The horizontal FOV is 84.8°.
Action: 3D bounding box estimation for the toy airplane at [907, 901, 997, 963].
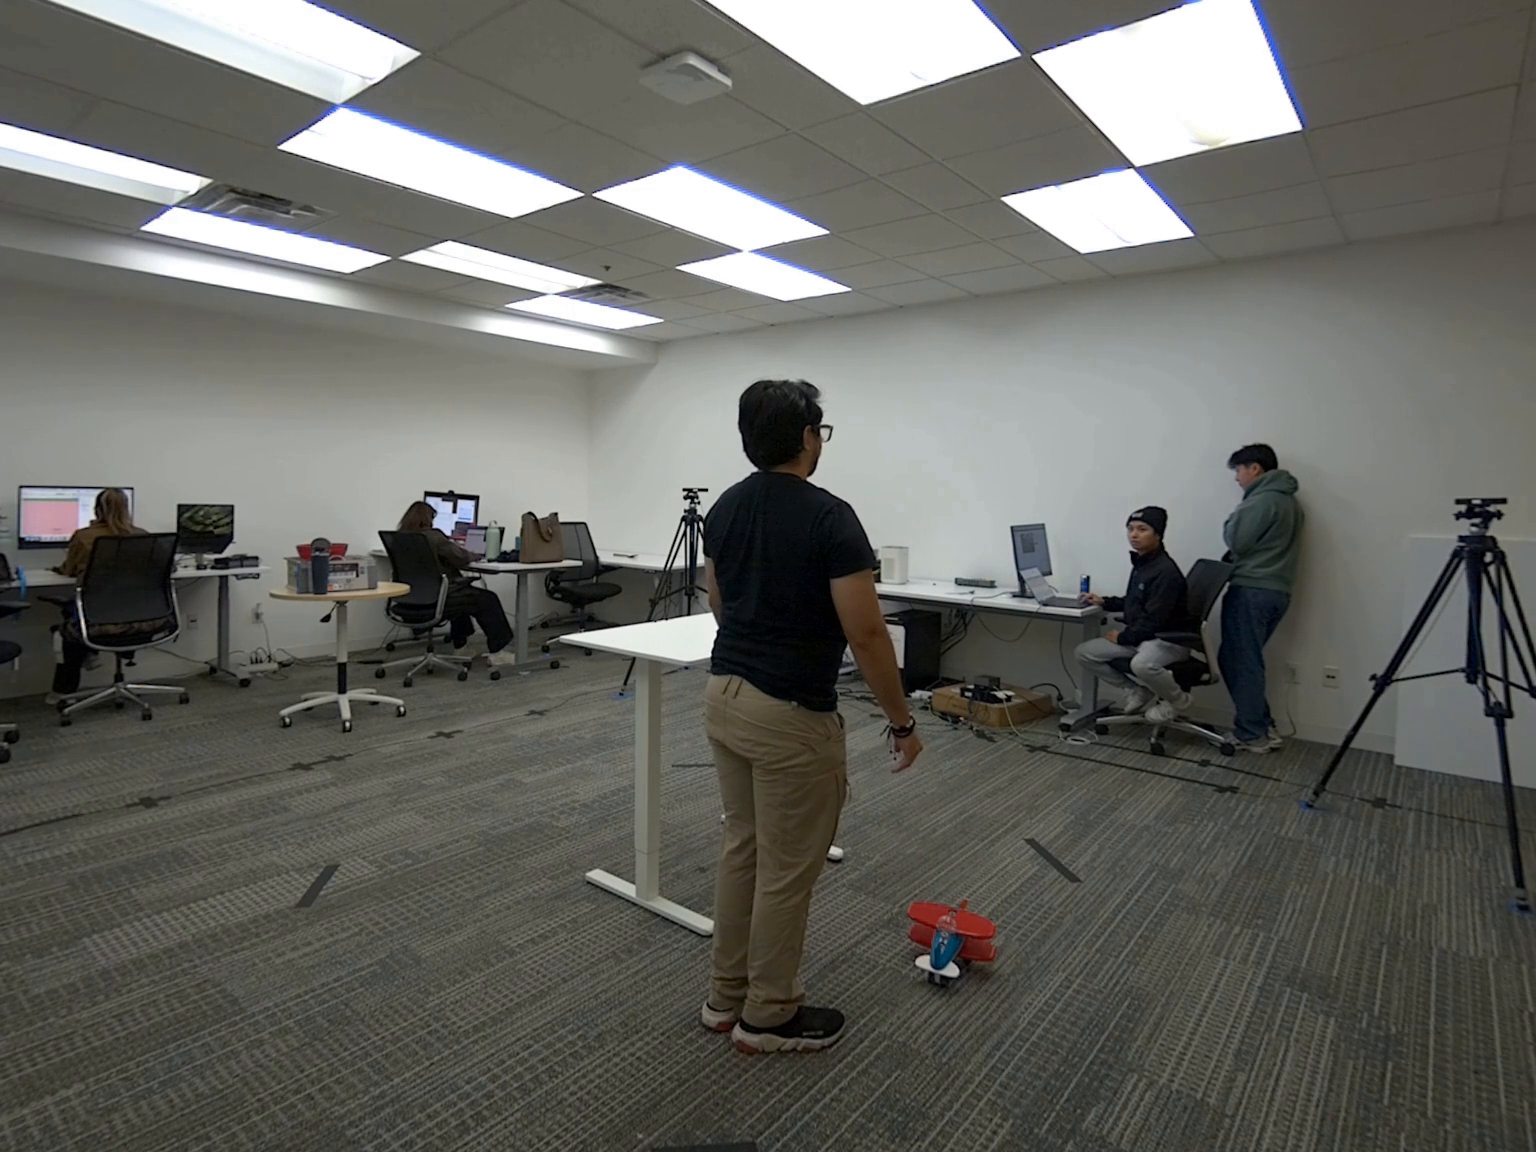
[{"bbox_3d":[0.539,1.072,2.480,0.251,0.156,0.259,2,3,0],"label":"toy airplane"}]
